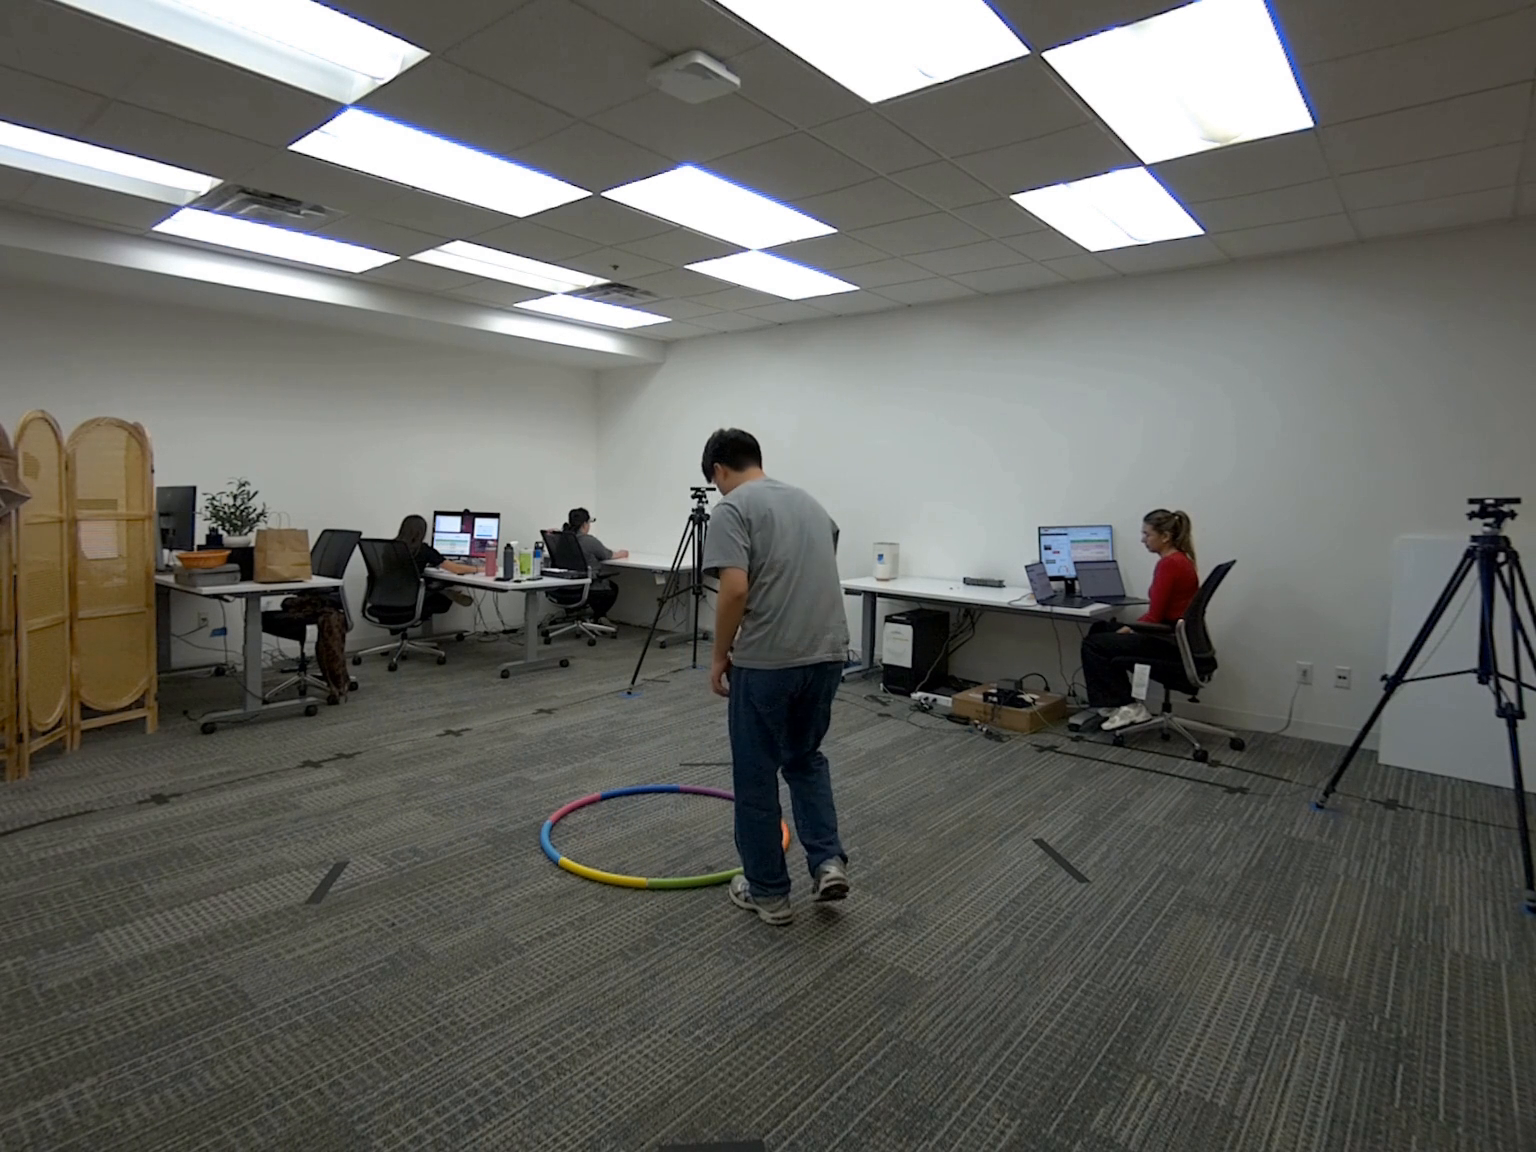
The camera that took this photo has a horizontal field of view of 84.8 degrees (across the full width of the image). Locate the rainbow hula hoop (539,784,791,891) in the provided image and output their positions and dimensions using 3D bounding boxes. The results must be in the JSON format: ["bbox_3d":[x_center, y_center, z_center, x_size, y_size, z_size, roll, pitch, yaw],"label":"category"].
[{"bbox_3d":[-0.419,1.003,3.403,0.978,0.035,0.984,1,6,-2],"label":"rainbow hula hoop"}]
